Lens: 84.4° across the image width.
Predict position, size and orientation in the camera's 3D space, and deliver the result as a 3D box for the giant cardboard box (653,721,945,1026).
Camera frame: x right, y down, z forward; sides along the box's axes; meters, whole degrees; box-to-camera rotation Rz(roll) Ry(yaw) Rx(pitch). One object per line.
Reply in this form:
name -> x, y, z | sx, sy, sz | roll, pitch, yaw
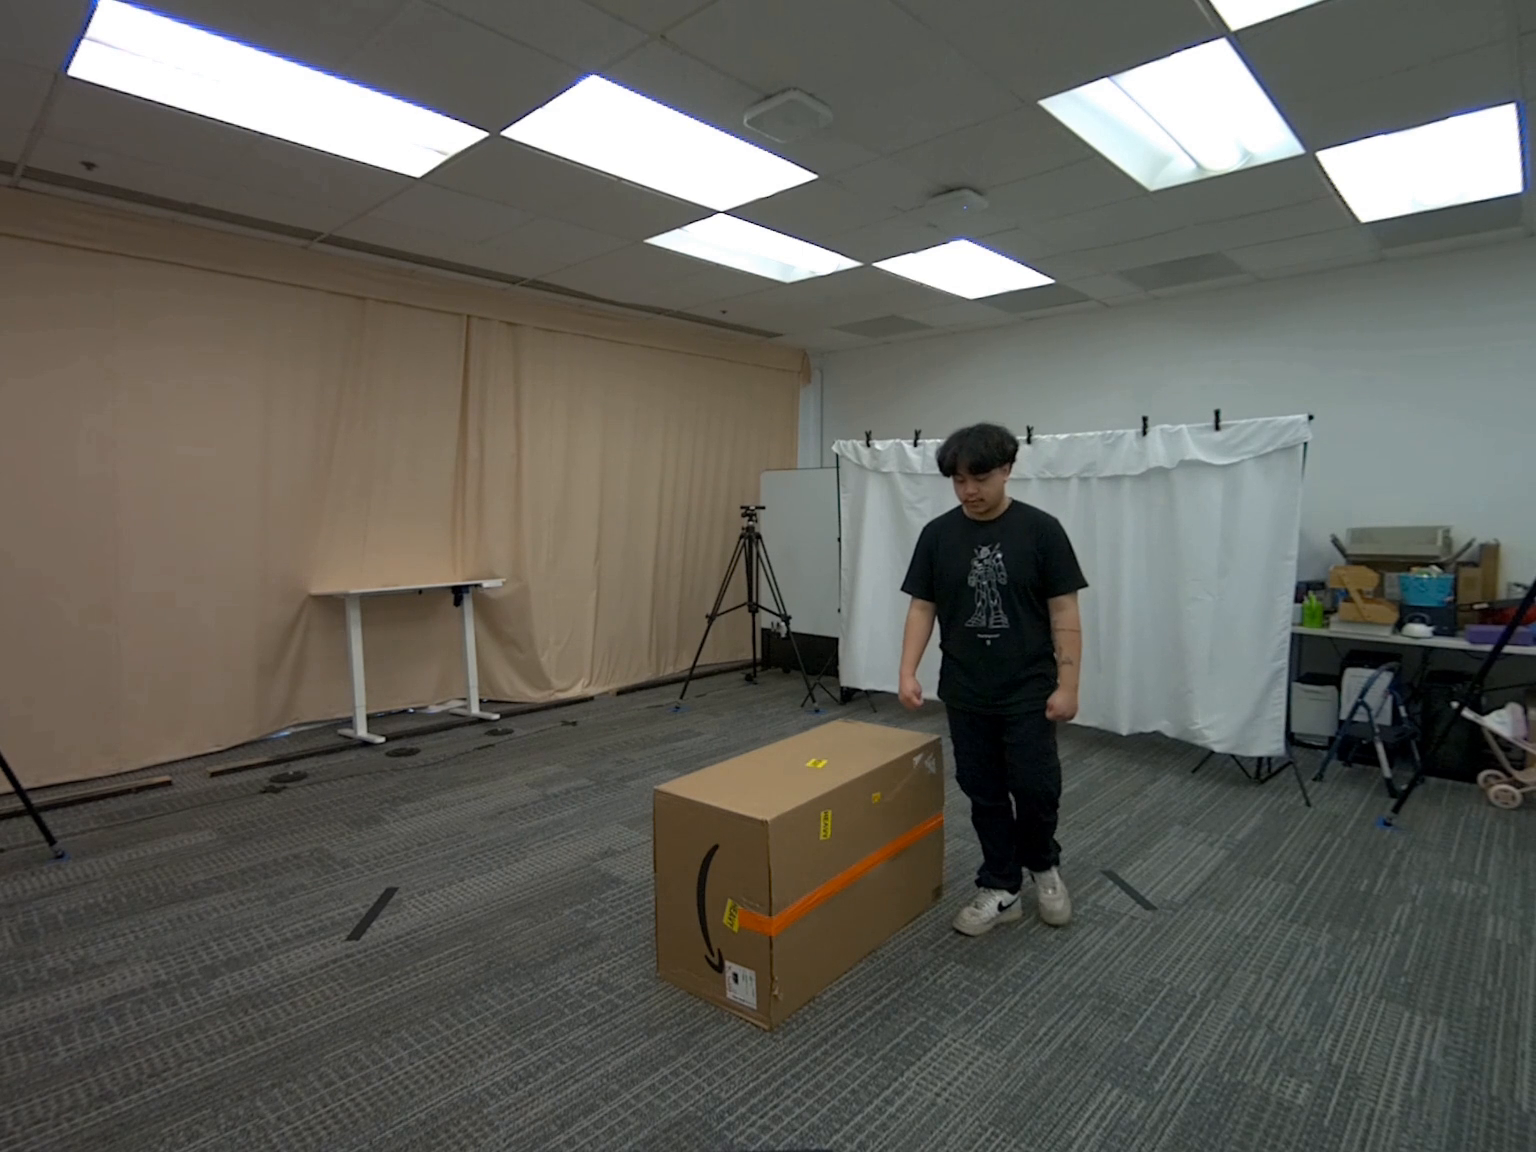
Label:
giant cardboard box -> 0.145, 0.880, 2.724 | 0.461, 0.582, 0.997 | 3, 6, 38
